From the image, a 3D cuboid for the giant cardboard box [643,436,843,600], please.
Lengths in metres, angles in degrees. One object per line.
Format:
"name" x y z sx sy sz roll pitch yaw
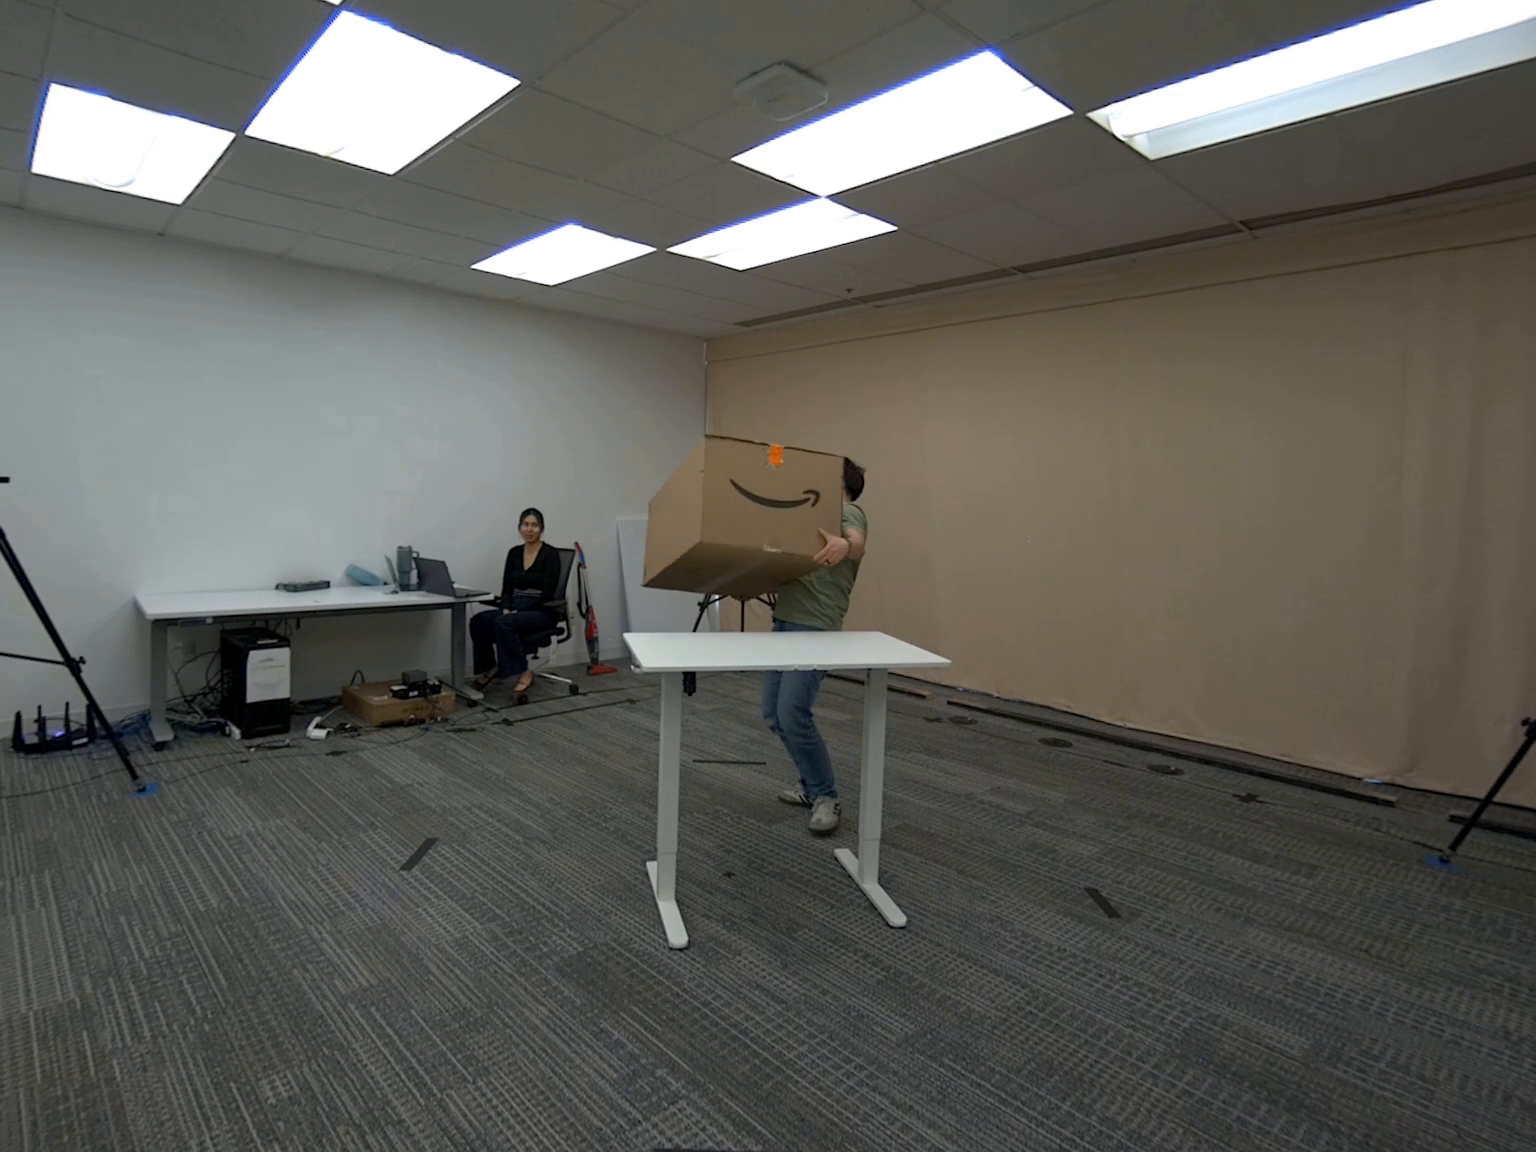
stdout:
"giant cardboard box" -0.150 -0.221 3.659 0.569 0.430 1.032 7 -13 -19
